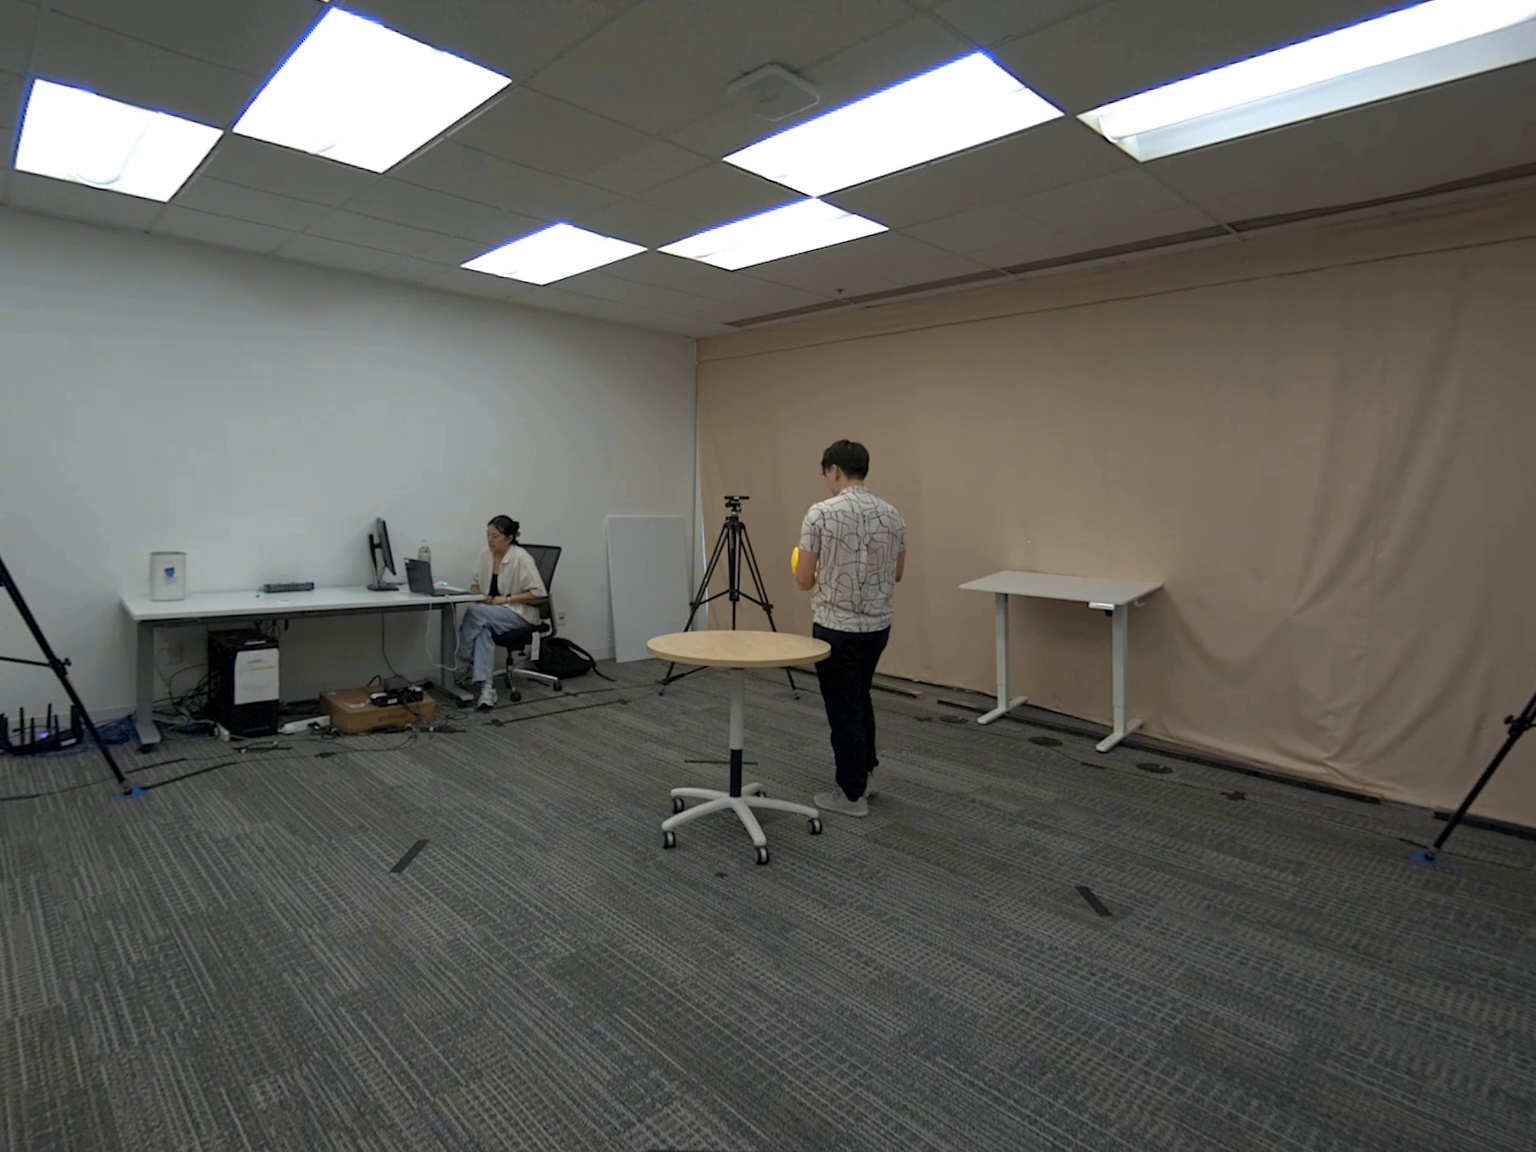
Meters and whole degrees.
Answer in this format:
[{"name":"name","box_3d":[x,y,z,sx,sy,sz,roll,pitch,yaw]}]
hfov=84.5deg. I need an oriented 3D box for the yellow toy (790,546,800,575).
[{"name":"yellow toy","box_3d":[0.255,-0.059,3.979,0.201,0.193,0.234,-7,0,-26]}]
